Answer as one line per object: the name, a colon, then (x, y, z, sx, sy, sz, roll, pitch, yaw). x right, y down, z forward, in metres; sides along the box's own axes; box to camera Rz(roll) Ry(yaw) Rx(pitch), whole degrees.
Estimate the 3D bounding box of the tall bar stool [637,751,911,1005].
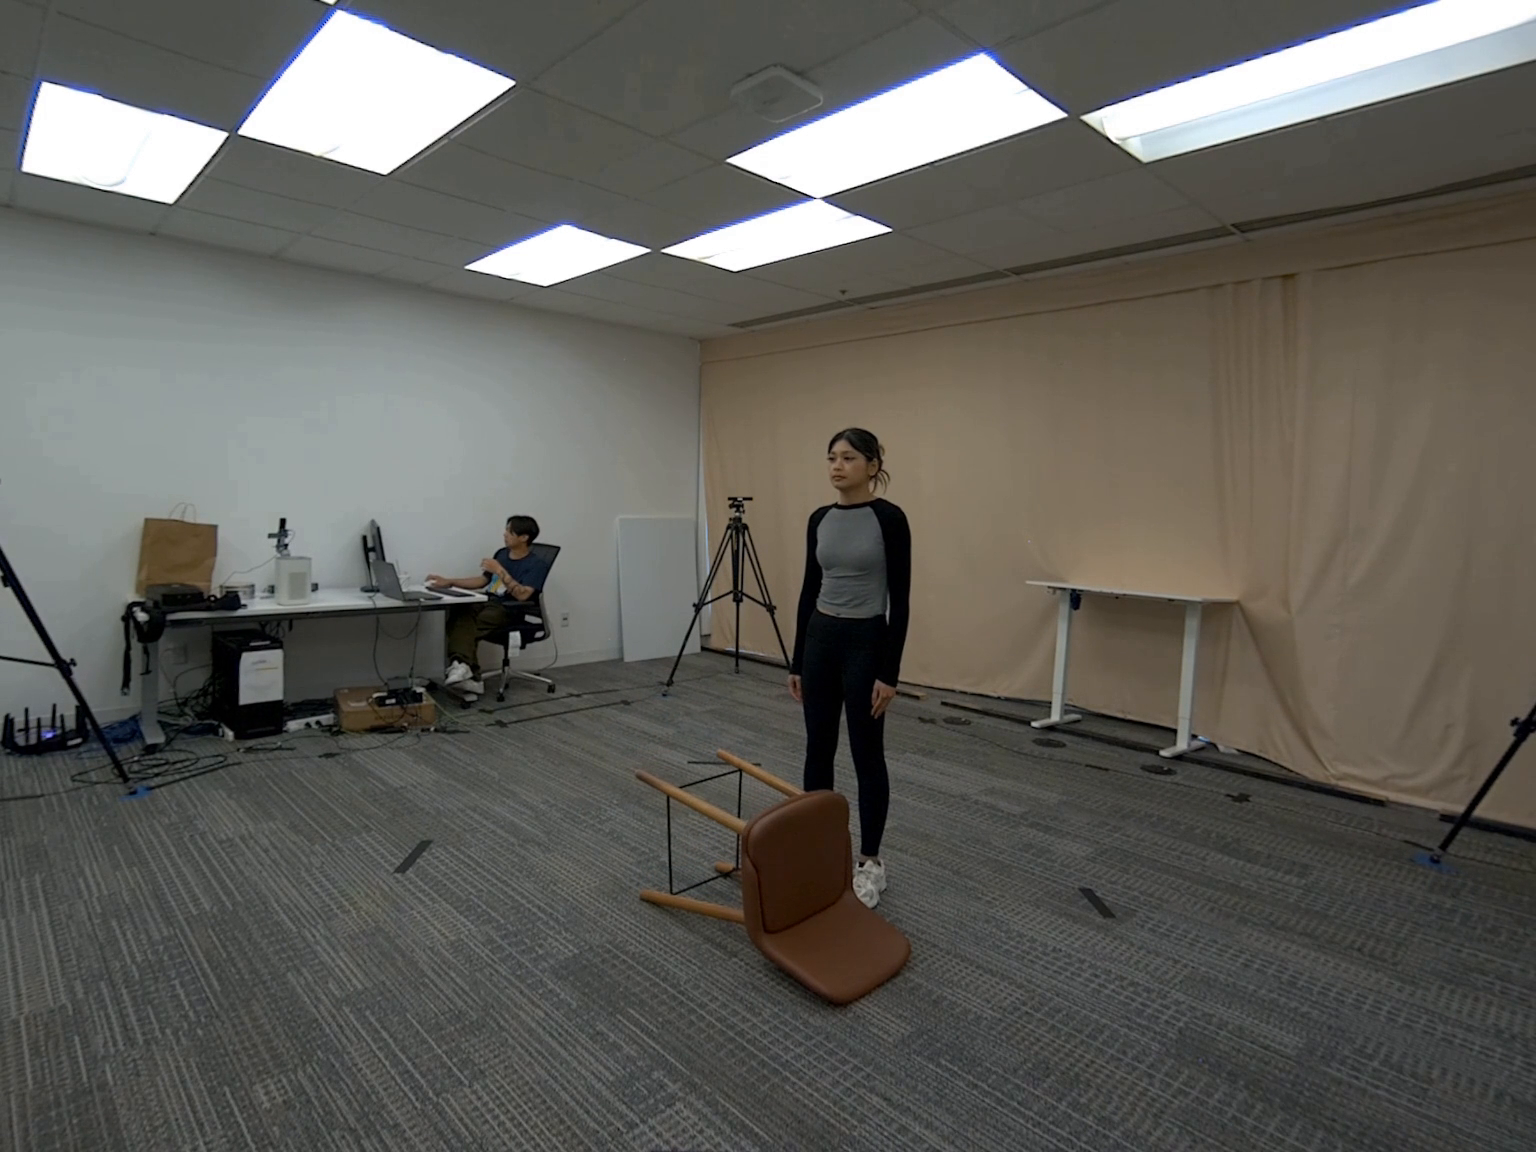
tall bar stool: (-0.008, 0.917, 2.711, 0.446, 0.466, 0.913, -2, 6, -44)
